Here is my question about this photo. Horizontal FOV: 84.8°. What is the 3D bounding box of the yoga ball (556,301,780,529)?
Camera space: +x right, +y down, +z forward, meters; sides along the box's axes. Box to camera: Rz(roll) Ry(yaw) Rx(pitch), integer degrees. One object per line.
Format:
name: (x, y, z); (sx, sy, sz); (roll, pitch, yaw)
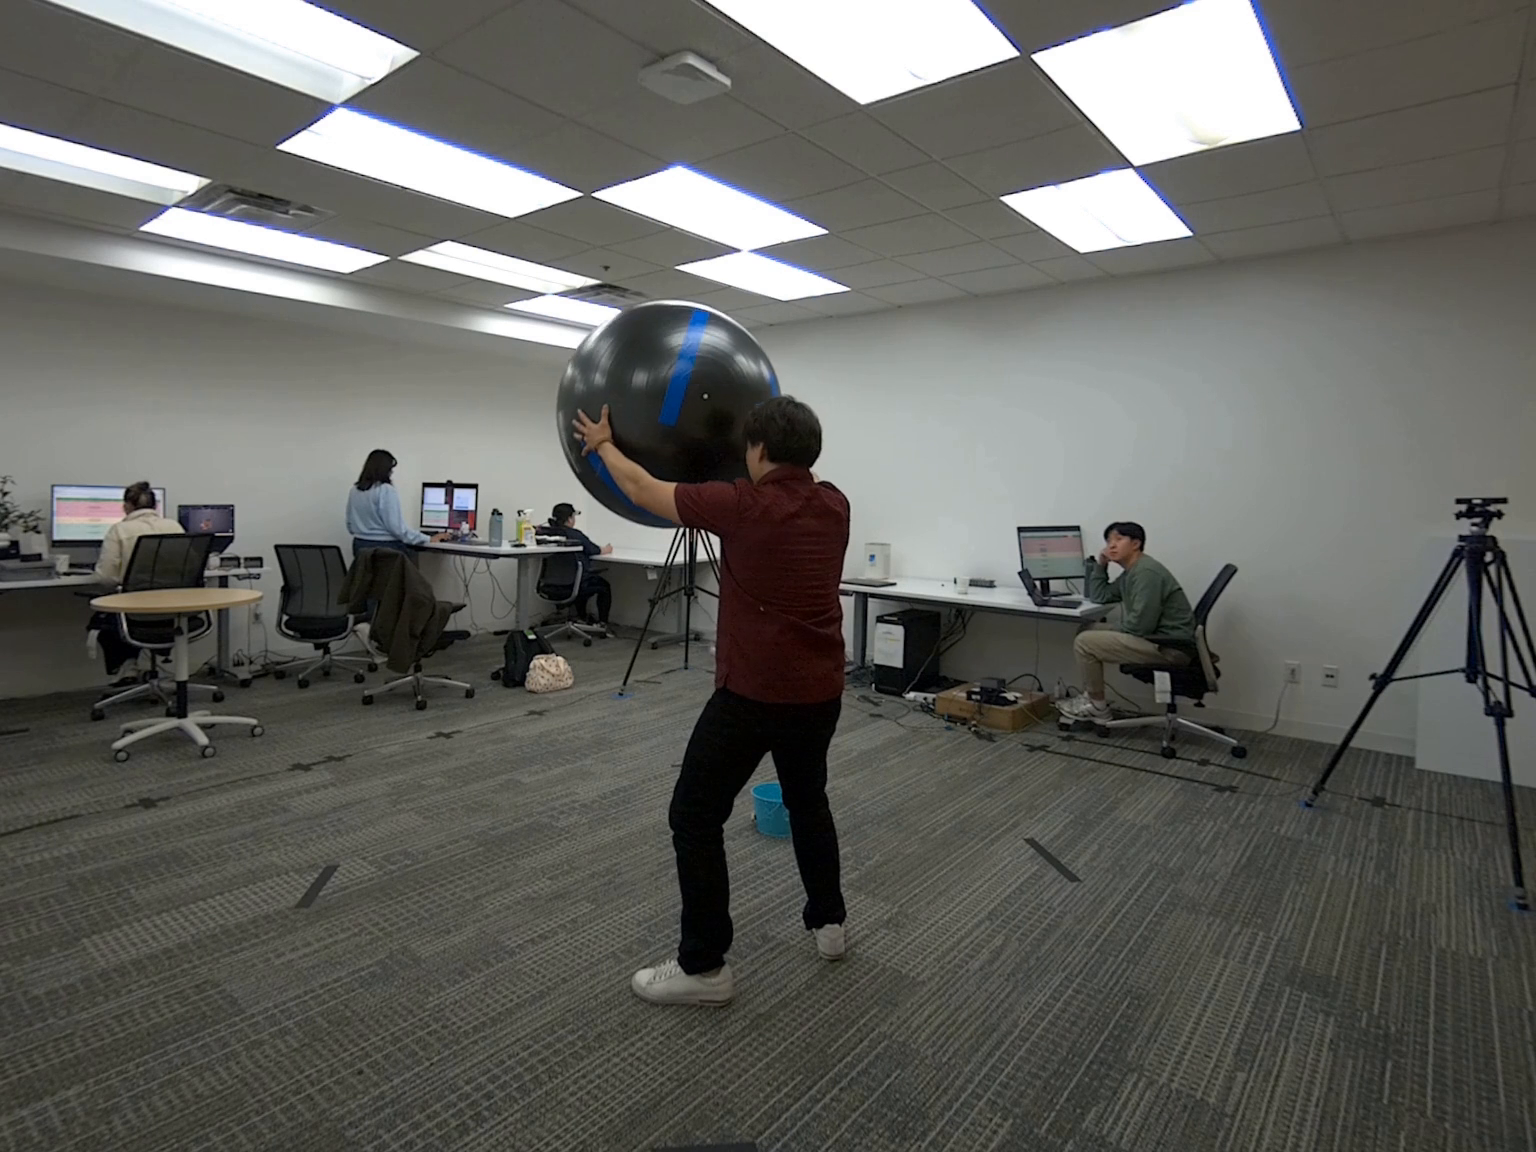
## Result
yoga ball: (-0.340, -0.530, 2.873); (0.757, 0.756, 0.762); (1, 4, -2)
